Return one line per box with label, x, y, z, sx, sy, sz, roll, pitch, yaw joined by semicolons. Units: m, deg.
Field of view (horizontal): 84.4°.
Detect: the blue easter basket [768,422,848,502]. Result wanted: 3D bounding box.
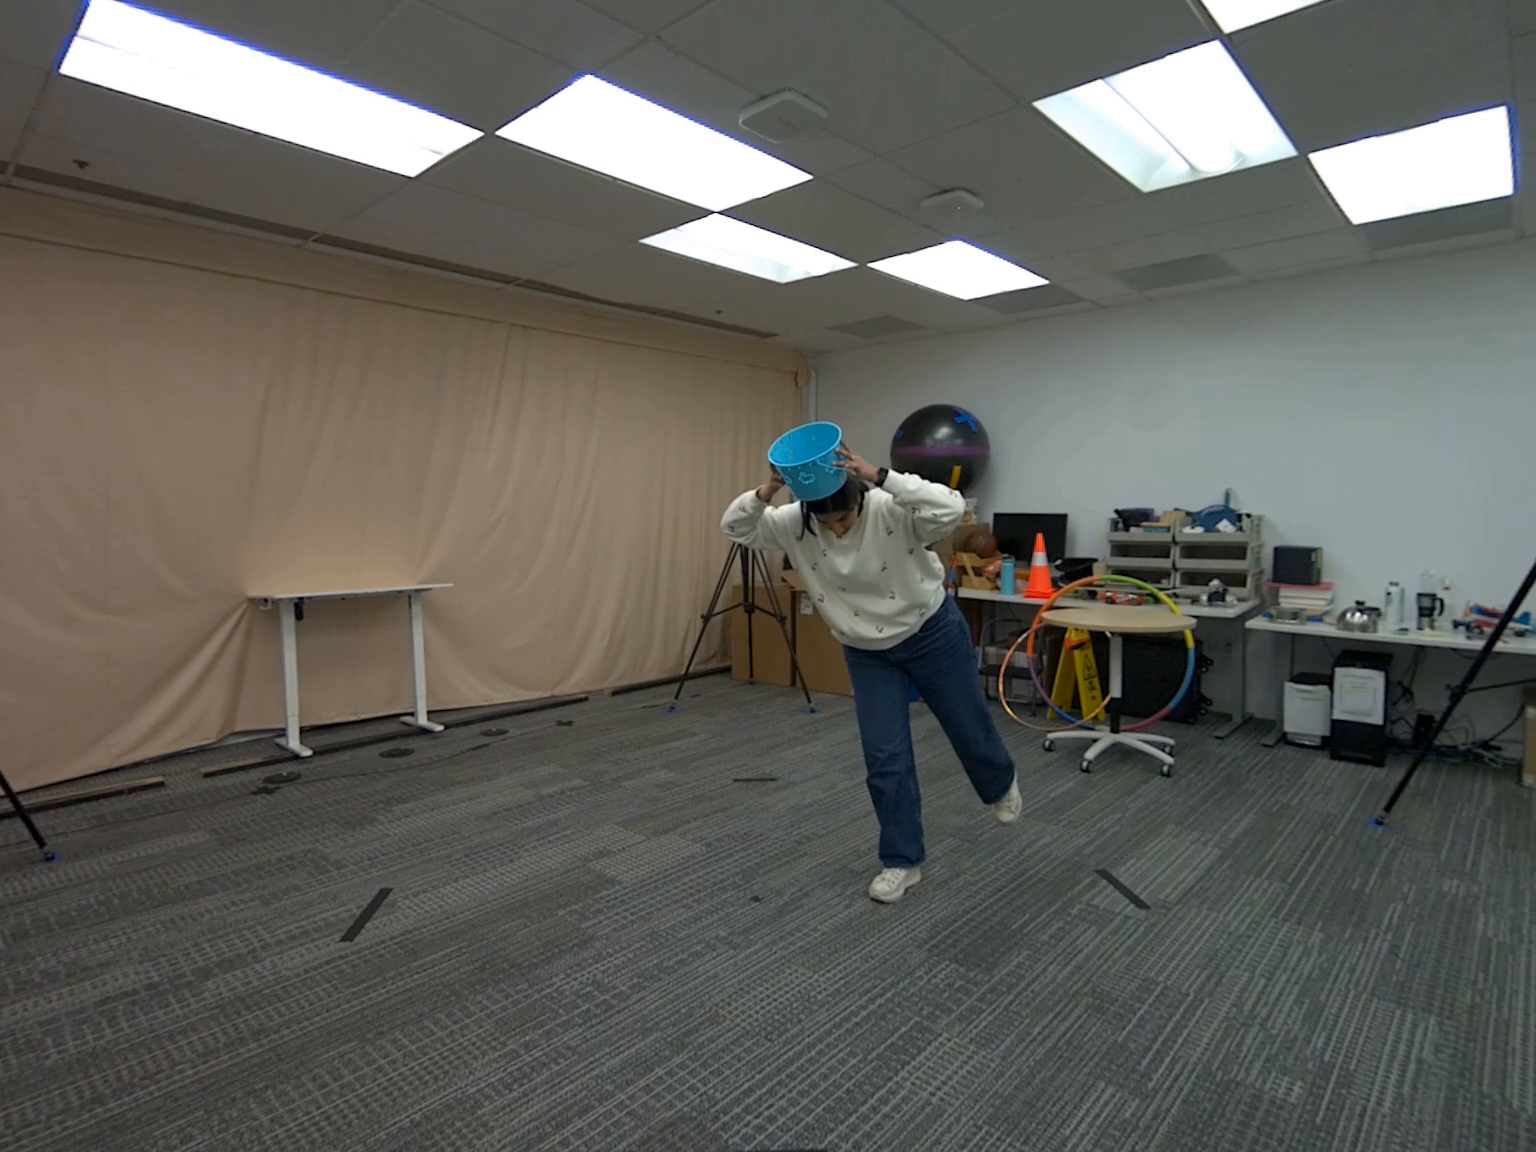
blue easter basket;0.149;-0.350;2.600;0.246;0.151;0.248;-20;34;12
